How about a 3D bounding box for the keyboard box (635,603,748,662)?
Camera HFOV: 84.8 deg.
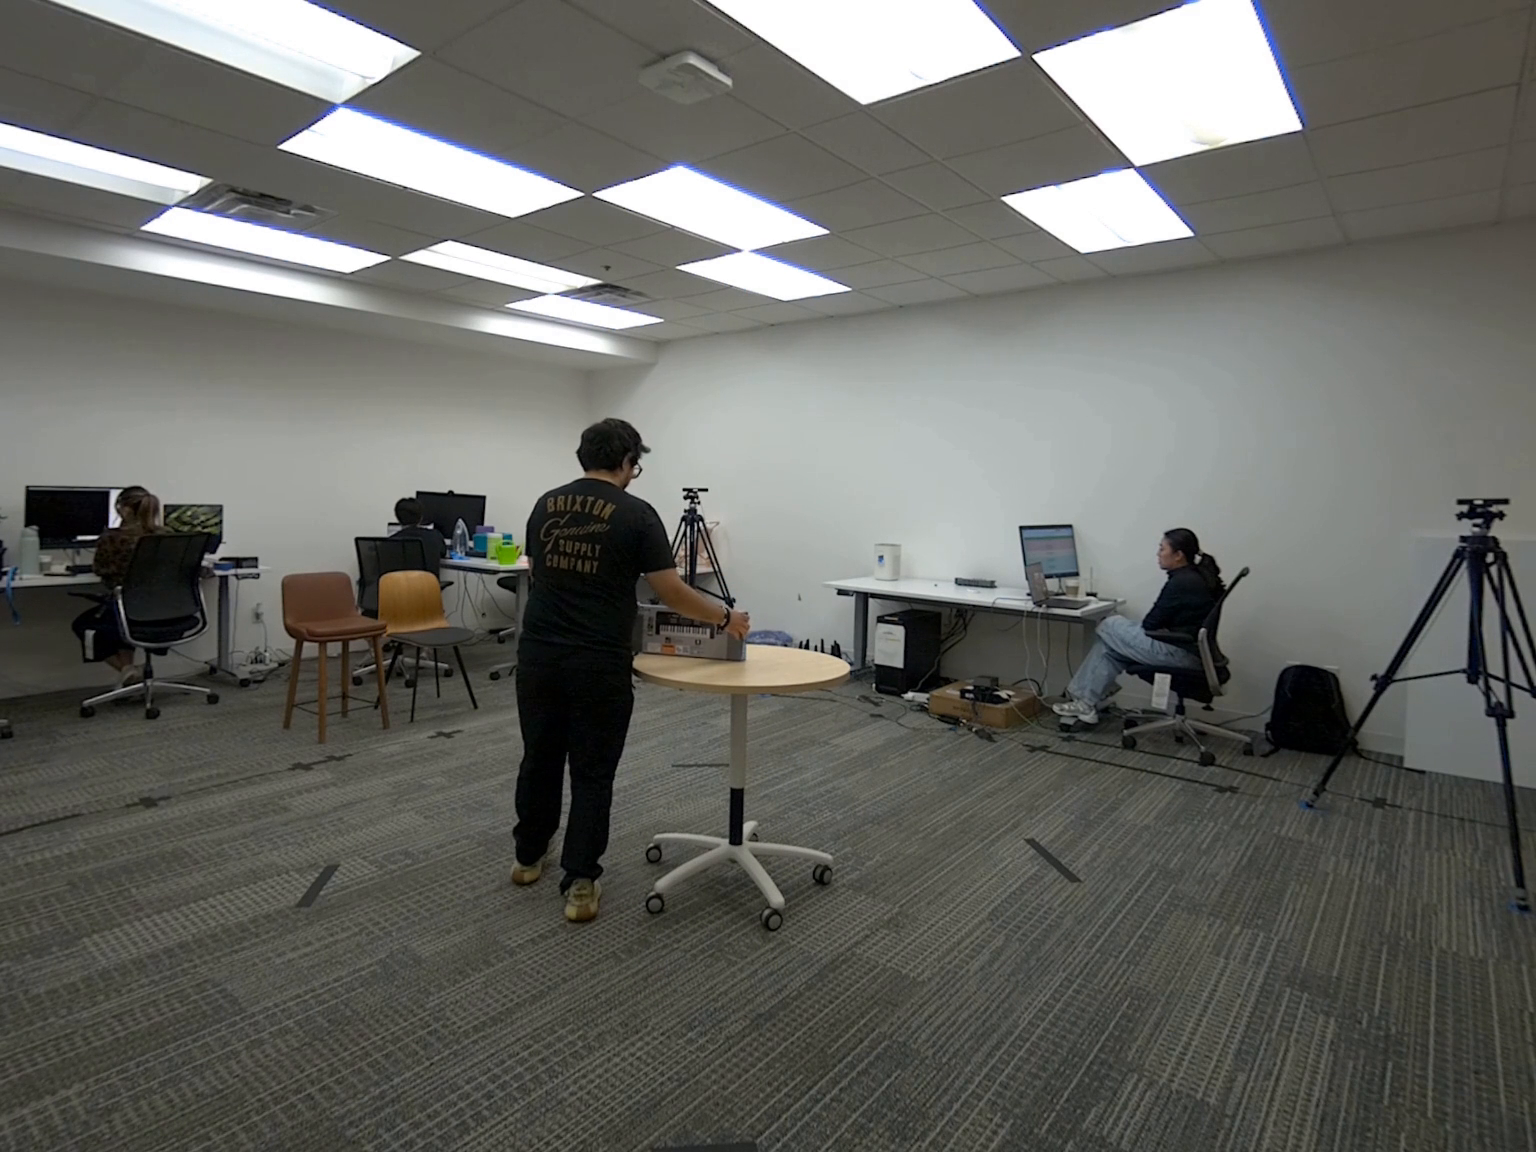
[{"bbox_3d":[-0.300,0.201,3.082,0.445,0.176,0.058,3,-1,18],"label":"keyboard box"}]
